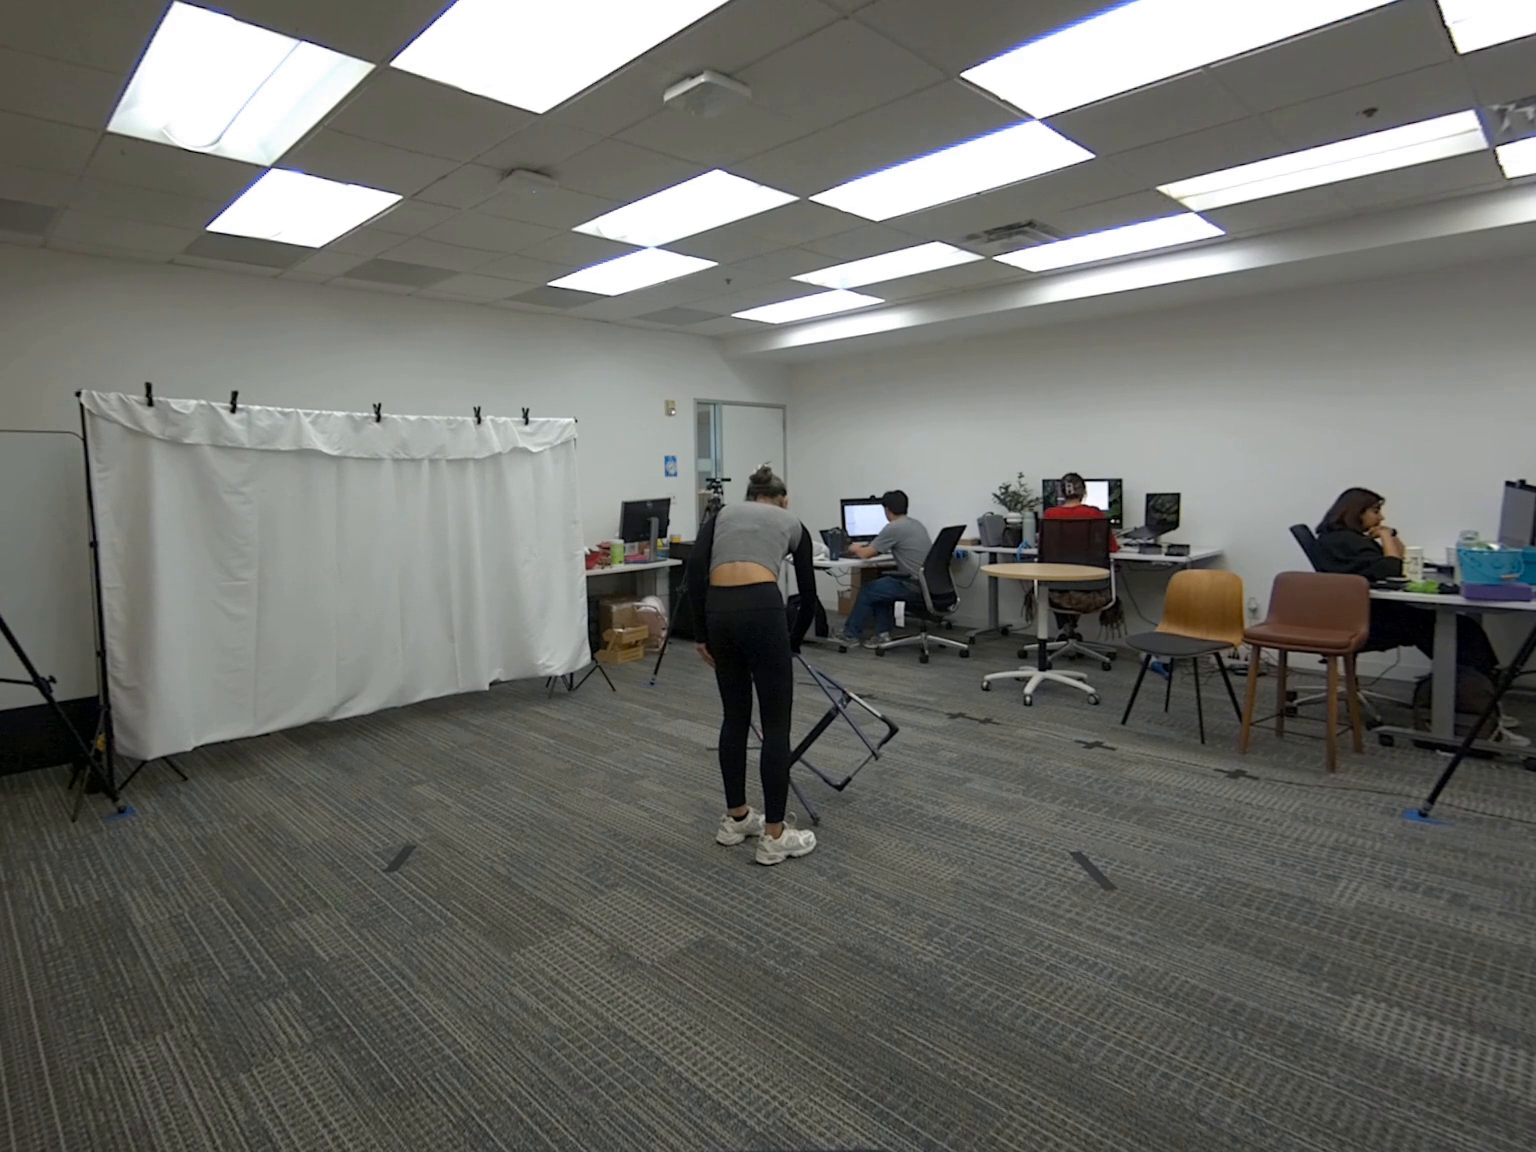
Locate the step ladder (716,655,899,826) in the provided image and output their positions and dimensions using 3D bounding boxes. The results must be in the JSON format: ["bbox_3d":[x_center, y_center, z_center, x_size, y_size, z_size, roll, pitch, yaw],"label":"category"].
[{"bbox_3d":[0.163,0.617,3.582,0.618,0.429,0.343,43,22,14],"label":"step ladder"}]
